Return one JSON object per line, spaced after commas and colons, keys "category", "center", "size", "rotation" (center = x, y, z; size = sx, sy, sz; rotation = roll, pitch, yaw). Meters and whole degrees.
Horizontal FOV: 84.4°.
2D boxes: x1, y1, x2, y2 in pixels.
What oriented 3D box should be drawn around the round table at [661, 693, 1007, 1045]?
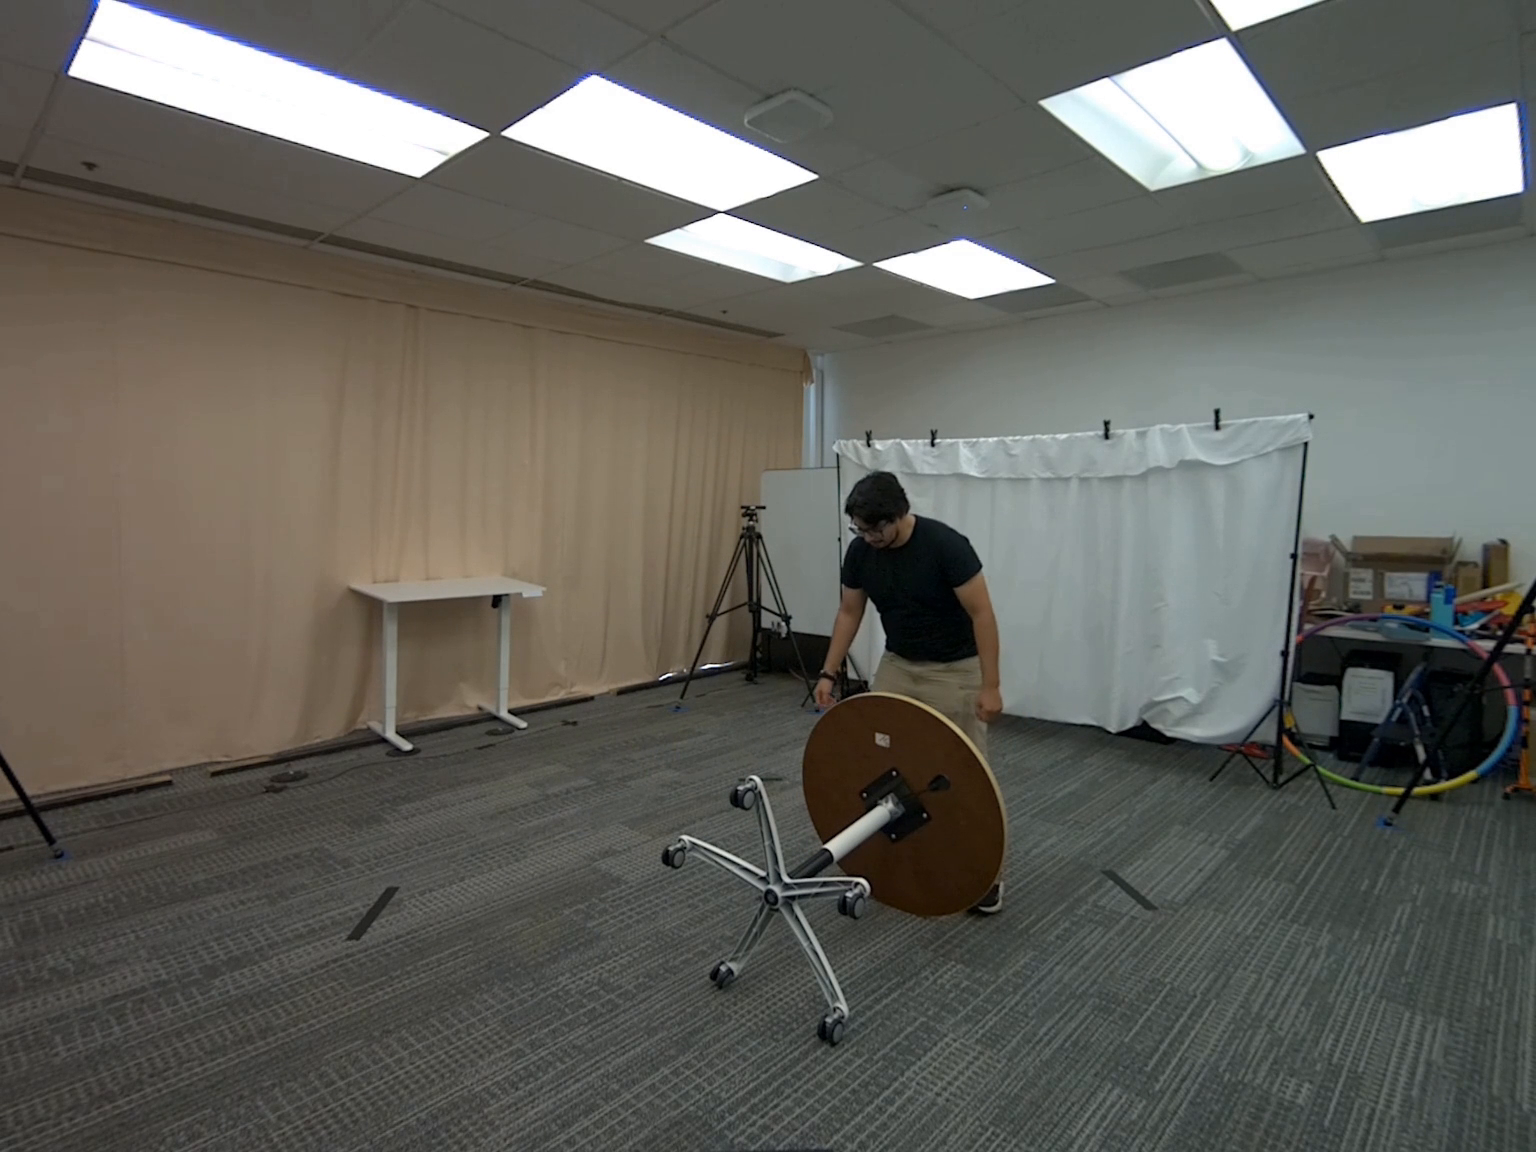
{"category": "round table", "center": [0.204, 0.844, 2.573], "size": [0.811, 0.780, 0.766], "rotation": [3, 12, 40]}
